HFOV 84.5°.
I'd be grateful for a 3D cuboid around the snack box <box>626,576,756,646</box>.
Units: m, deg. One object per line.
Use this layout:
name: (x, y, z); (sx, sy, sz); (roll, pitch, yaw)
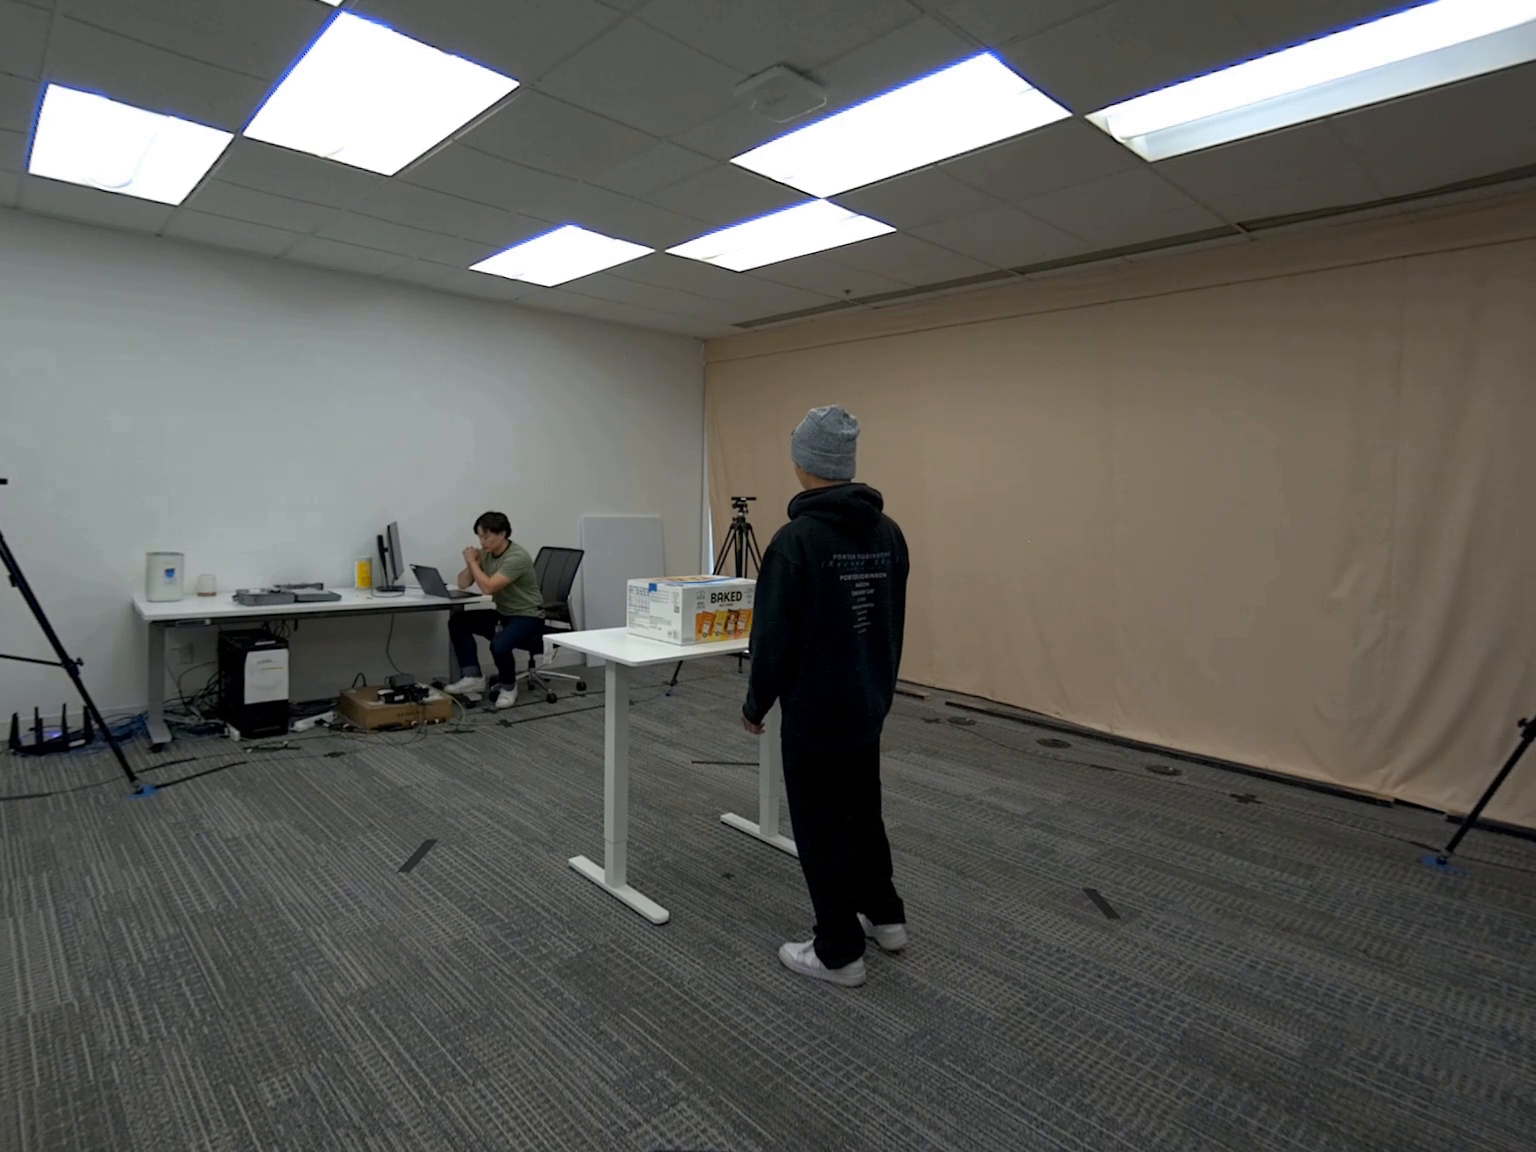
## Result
snack box: (-0.269, 0.119, 3.137); (0.396, 0.205, 0.349); (-4, 6, -43)
